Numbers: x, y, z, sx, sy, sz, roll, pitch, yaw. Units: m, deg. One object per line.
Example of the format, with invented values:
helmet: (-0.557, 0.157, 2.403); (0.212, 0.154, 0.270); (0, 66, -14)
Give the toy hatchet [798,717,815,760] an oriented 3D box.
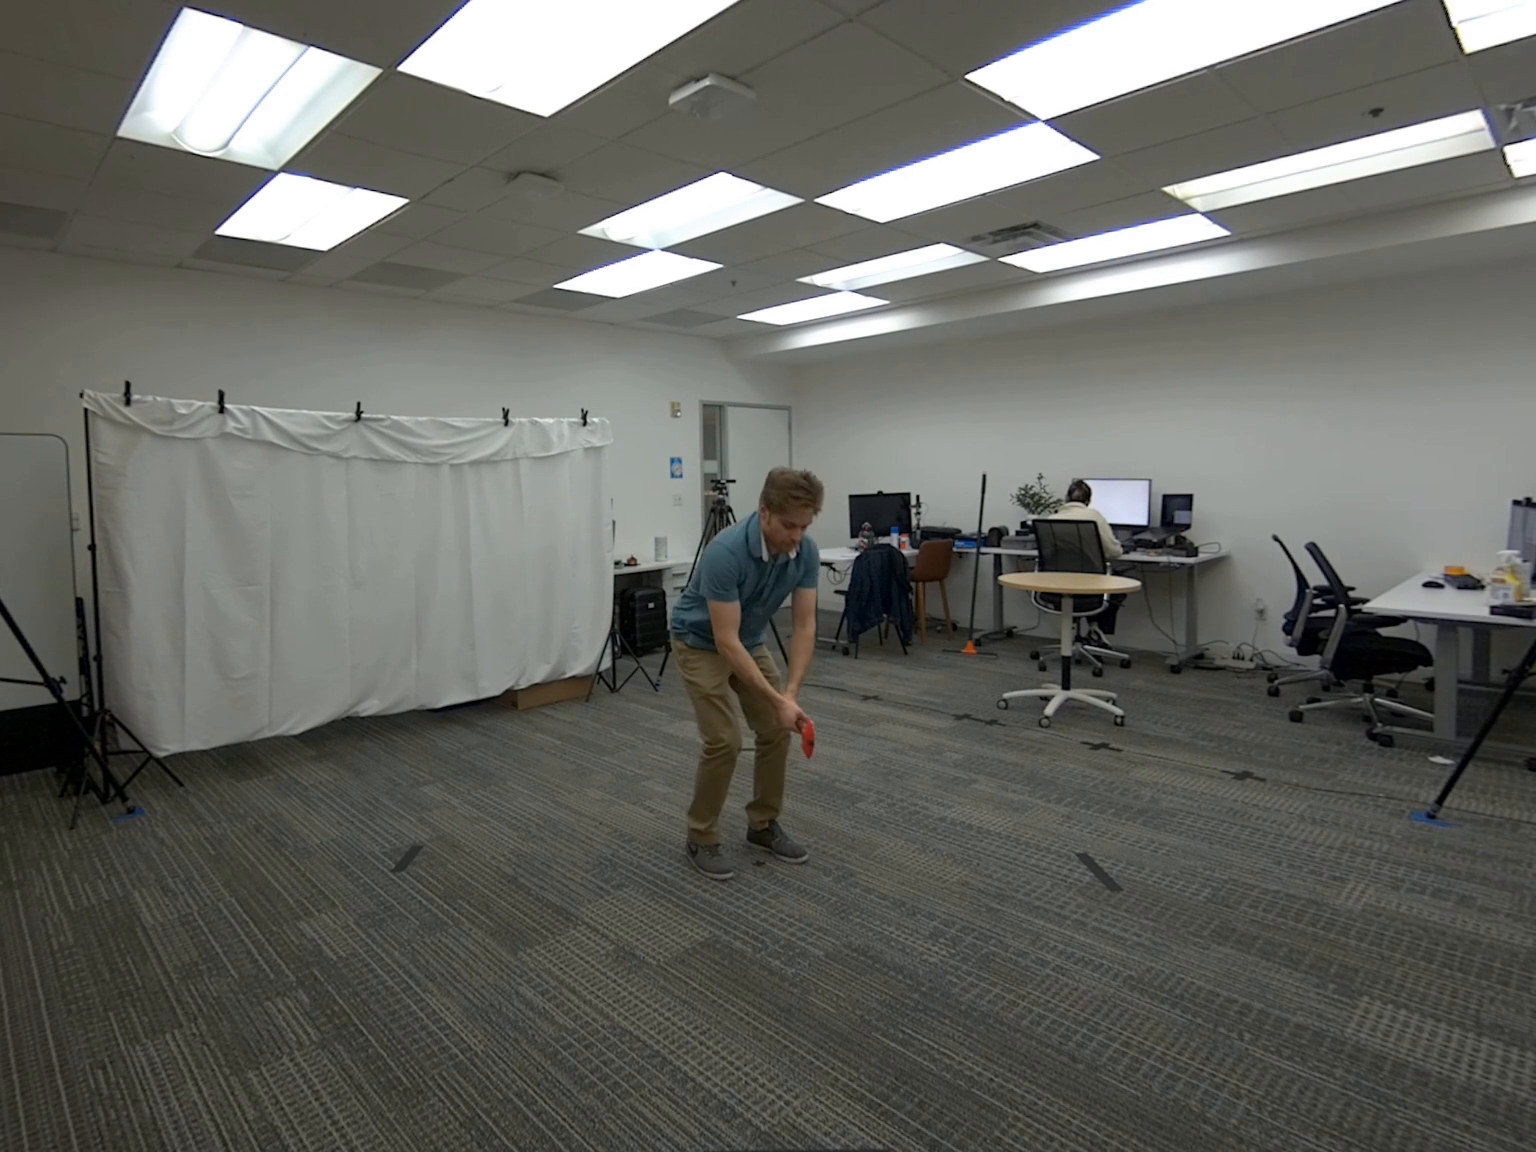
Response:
toy hatchet: (0.106, 0.509, 2.757); (0.029, 0.131, 0.271); (-13, -1, -11)
